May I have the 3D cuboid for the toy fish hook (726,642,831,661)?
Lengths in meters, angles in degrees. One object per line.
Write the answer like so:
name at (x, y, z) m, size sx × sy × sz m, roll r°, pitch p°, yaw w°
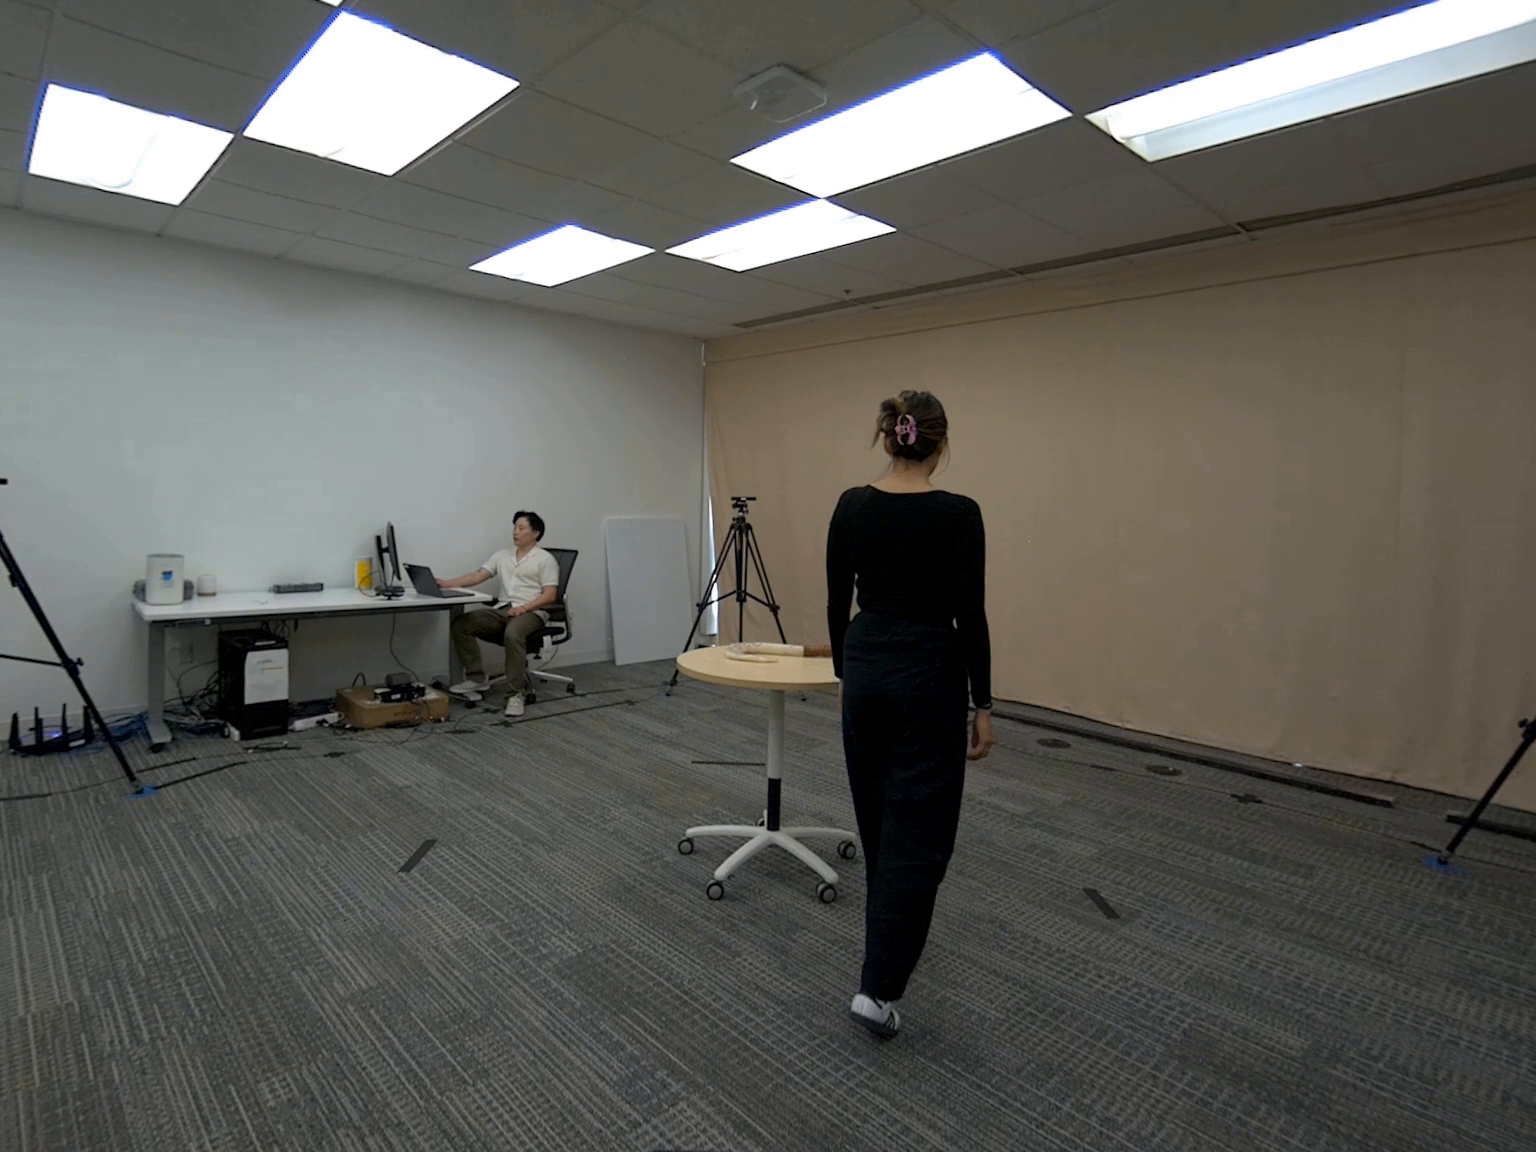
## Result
toy fish hook at (0.089, 0.309, 3.245) m, size 0.505 × 0.048 × 0.227 m, roll 0°, pitch 13°, yaw -4°
